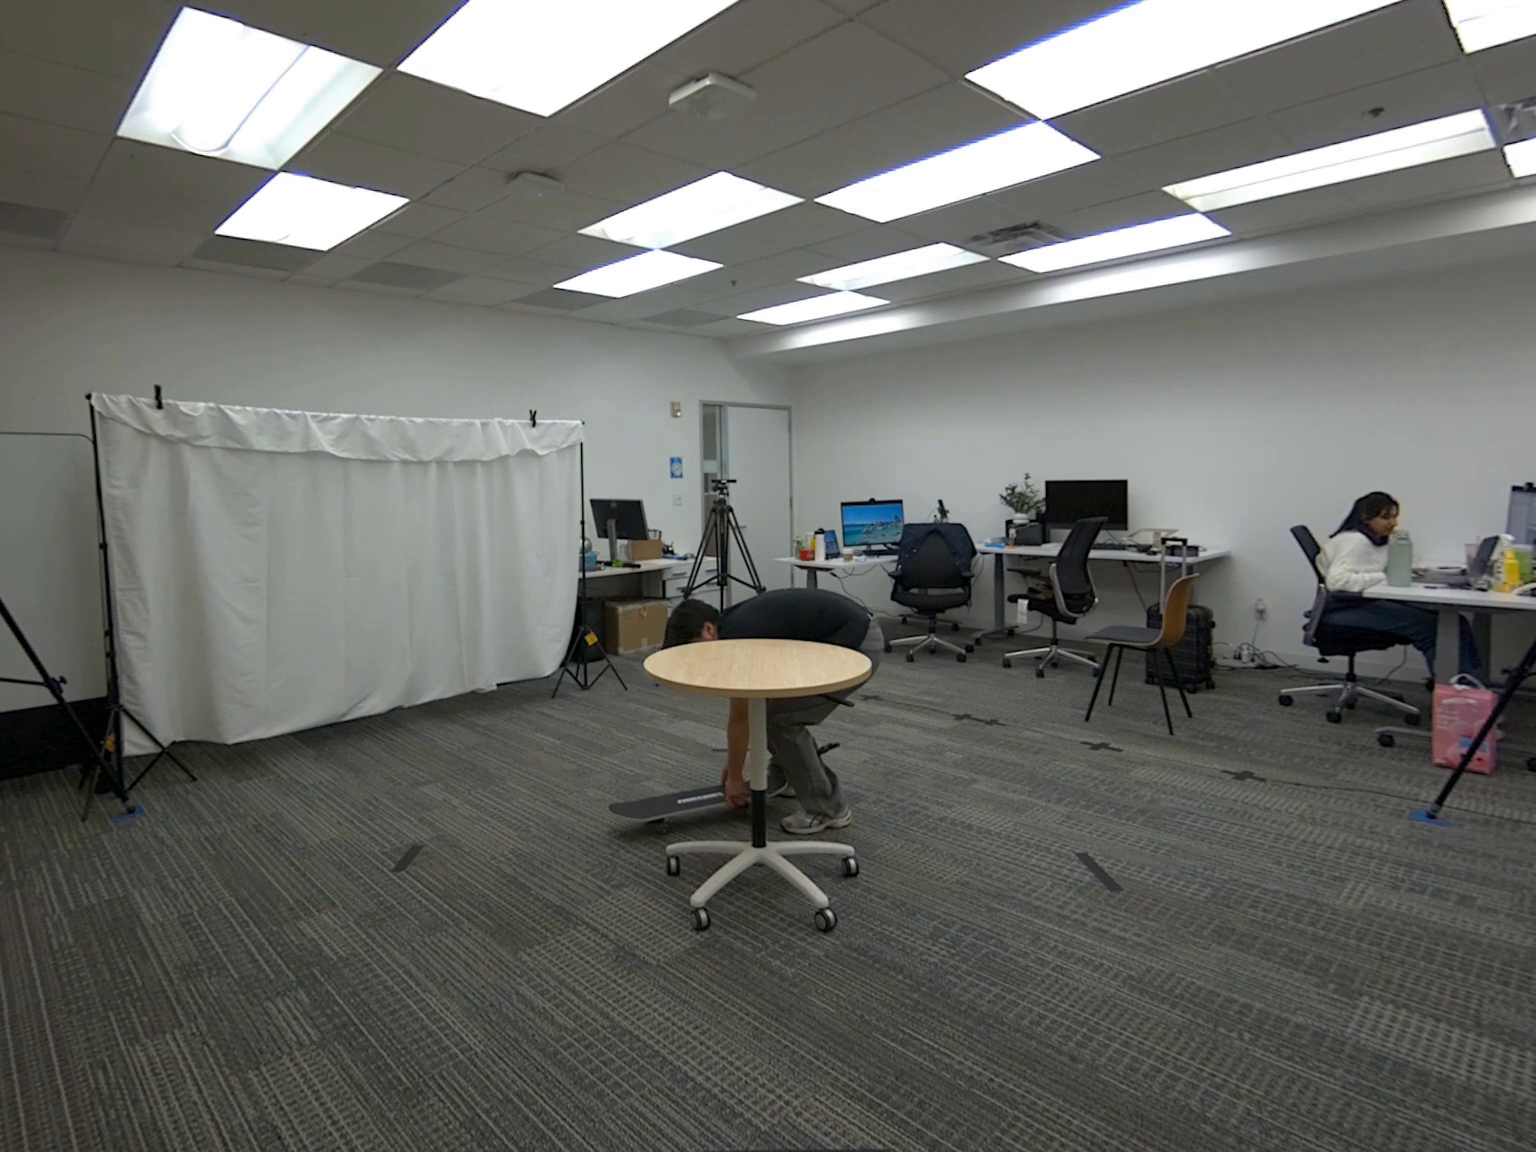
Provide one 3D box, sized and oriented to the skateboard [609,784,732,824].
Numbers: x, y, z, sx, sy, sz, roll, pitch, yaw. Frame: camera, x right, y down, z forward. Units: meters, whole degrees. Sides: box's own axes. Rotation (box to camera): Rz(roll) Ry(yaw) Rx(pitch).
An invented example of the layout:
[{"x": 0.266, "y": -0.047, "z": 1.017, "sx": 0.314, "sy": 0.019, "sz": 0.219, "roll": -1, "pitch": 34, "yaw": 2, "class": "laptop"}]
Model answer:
[{"x": -0.281, "y": 0.945, "z": 3.526, "sx": 0.769, "sy": 0.110, "sz": 0.198, "roll": -4, "pitch": 6, "yaw": -25, "class": "skateboard"}]
